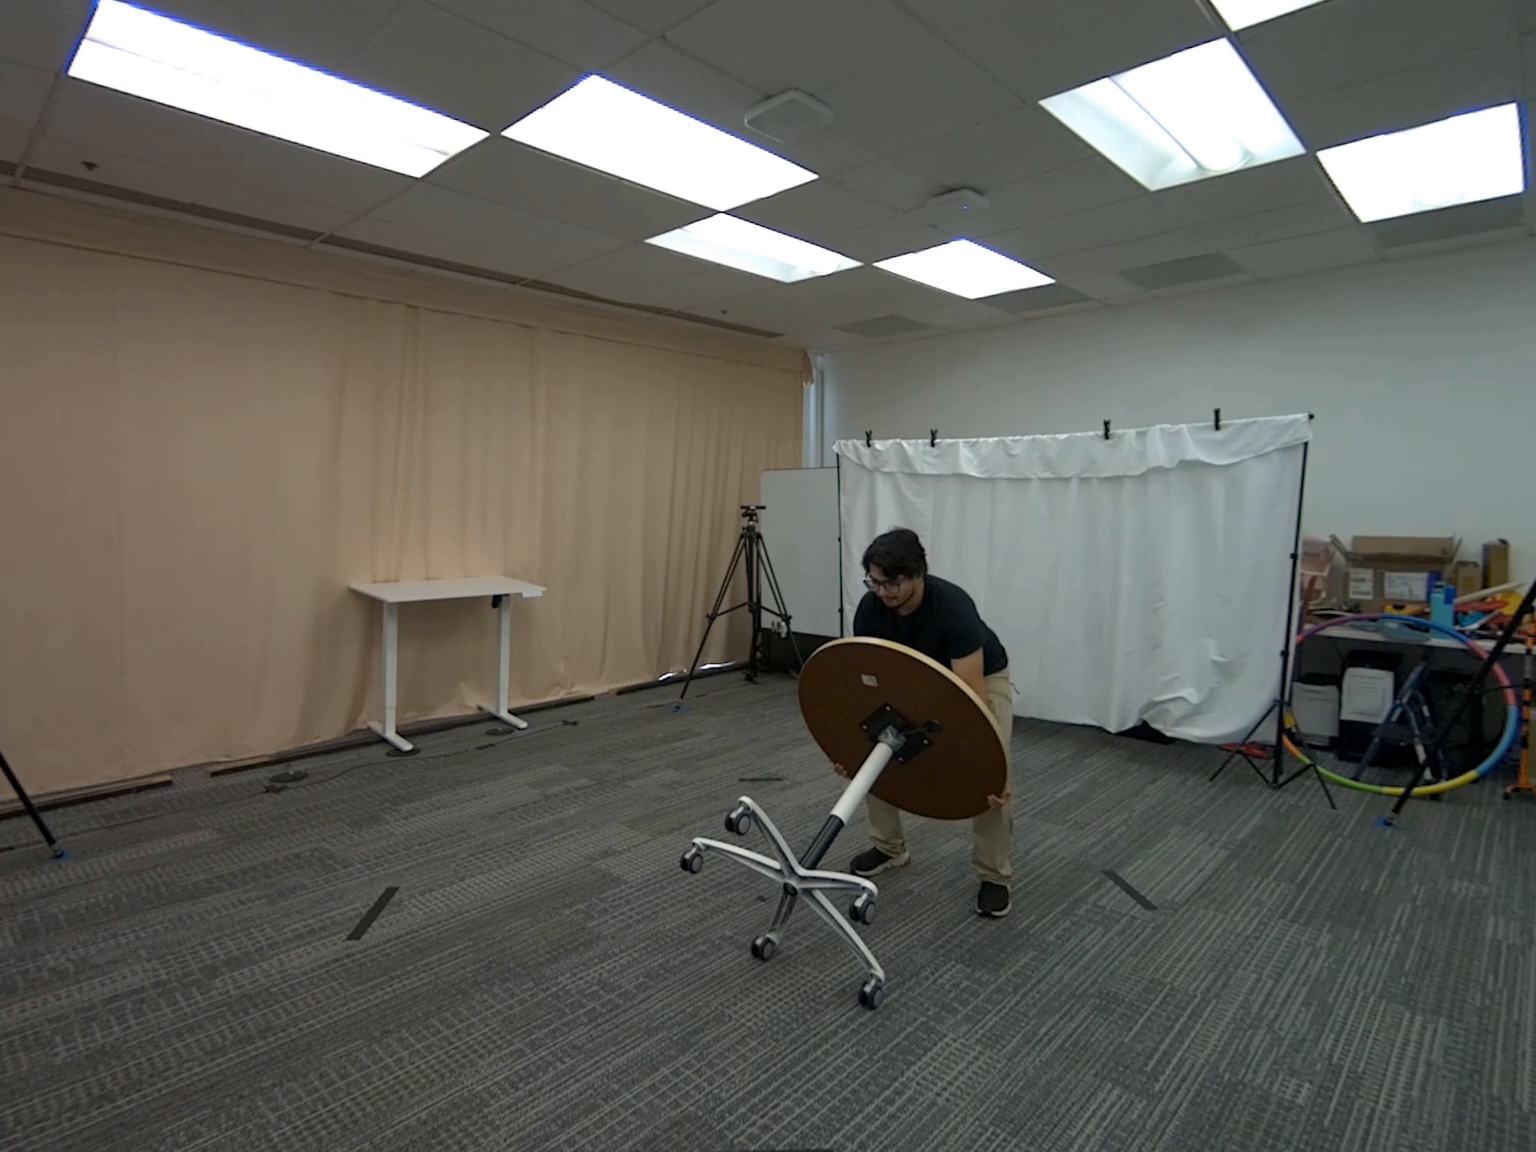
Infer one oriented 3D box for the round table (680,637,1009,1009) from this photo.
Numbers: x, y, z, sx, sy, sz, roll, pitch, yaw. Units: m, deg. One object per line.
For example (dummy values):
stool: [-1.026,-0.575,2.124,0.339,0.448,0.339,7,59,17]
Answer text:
round table: [0.236,0.739,2.623,0.811,0.768,0.778,3,34,40]
